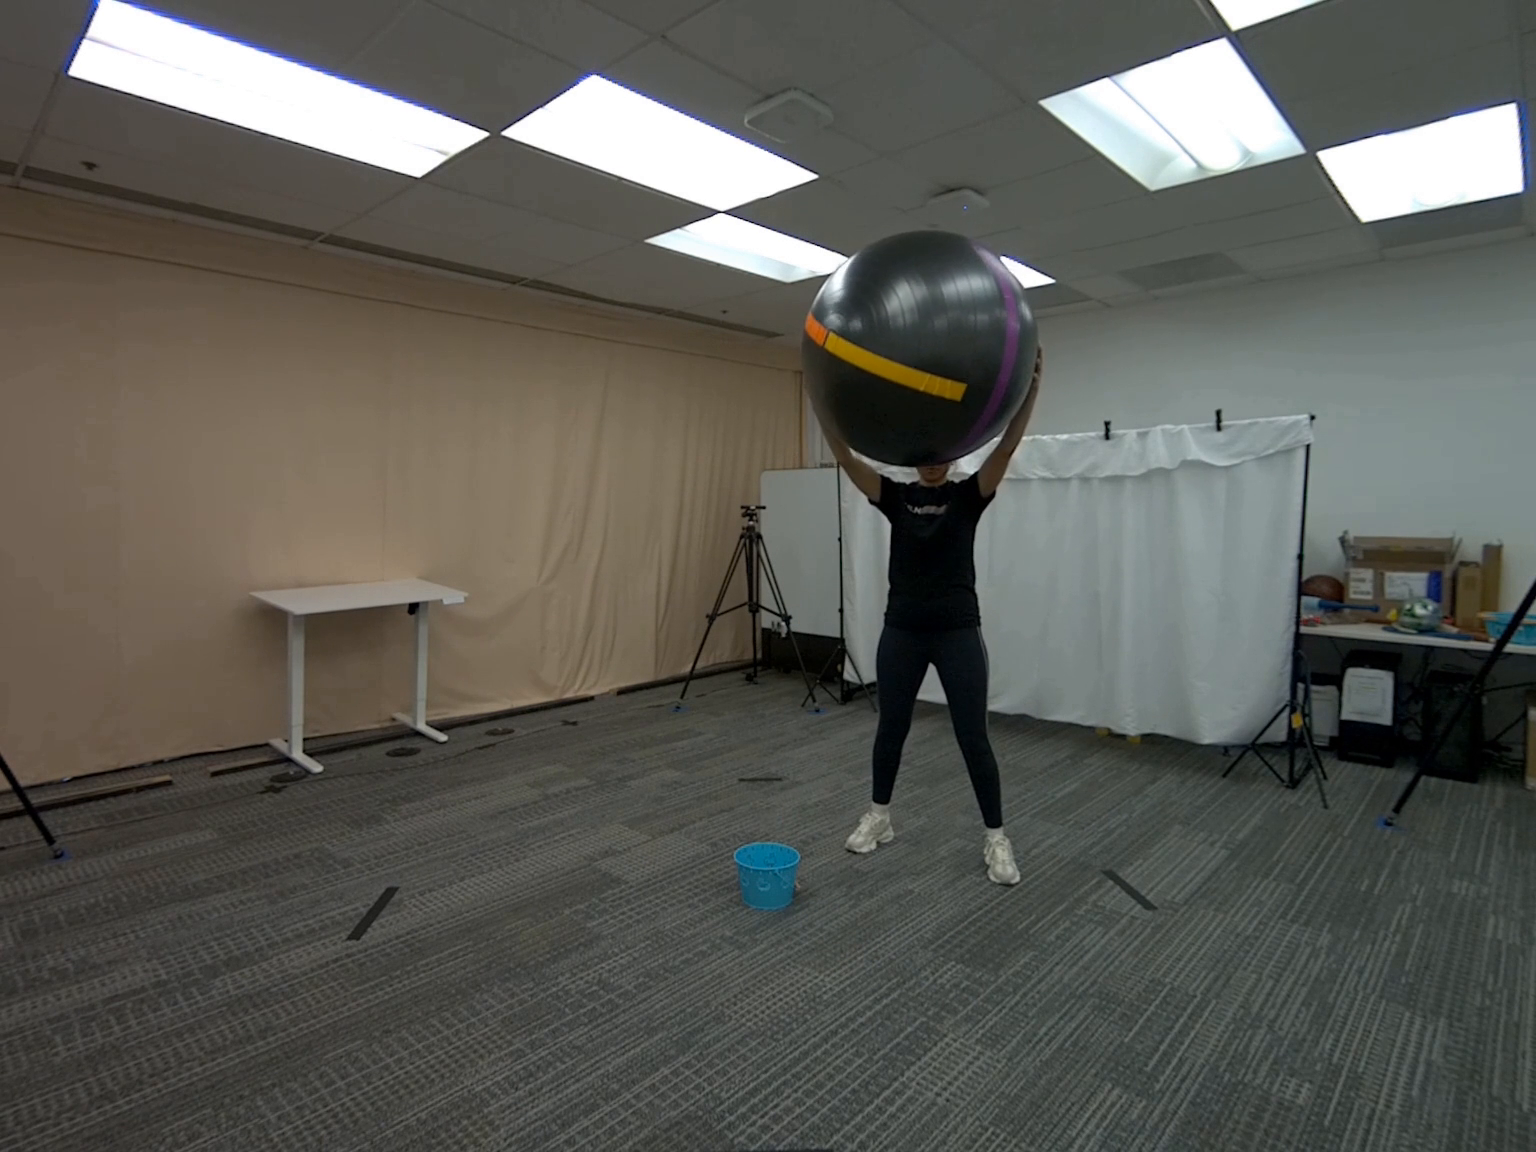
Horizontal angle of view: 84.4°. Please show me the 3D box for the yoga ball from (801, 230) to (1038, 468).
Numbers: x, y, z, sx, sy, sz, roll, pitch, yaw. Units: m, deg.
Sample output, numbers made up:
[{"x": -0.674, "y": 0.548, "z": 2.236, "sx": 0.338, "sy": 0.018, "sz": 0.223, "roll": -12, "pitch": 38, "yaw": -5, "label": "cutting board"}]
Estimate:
[{"x": 0.498, "y": -0.725, "z": 2.781, "sx": 0.757, "sy": 0.756, "sz": 0.760, "roll": 0, "pitch": 4, "yaw": -2, "label": "yoga ball"}]
